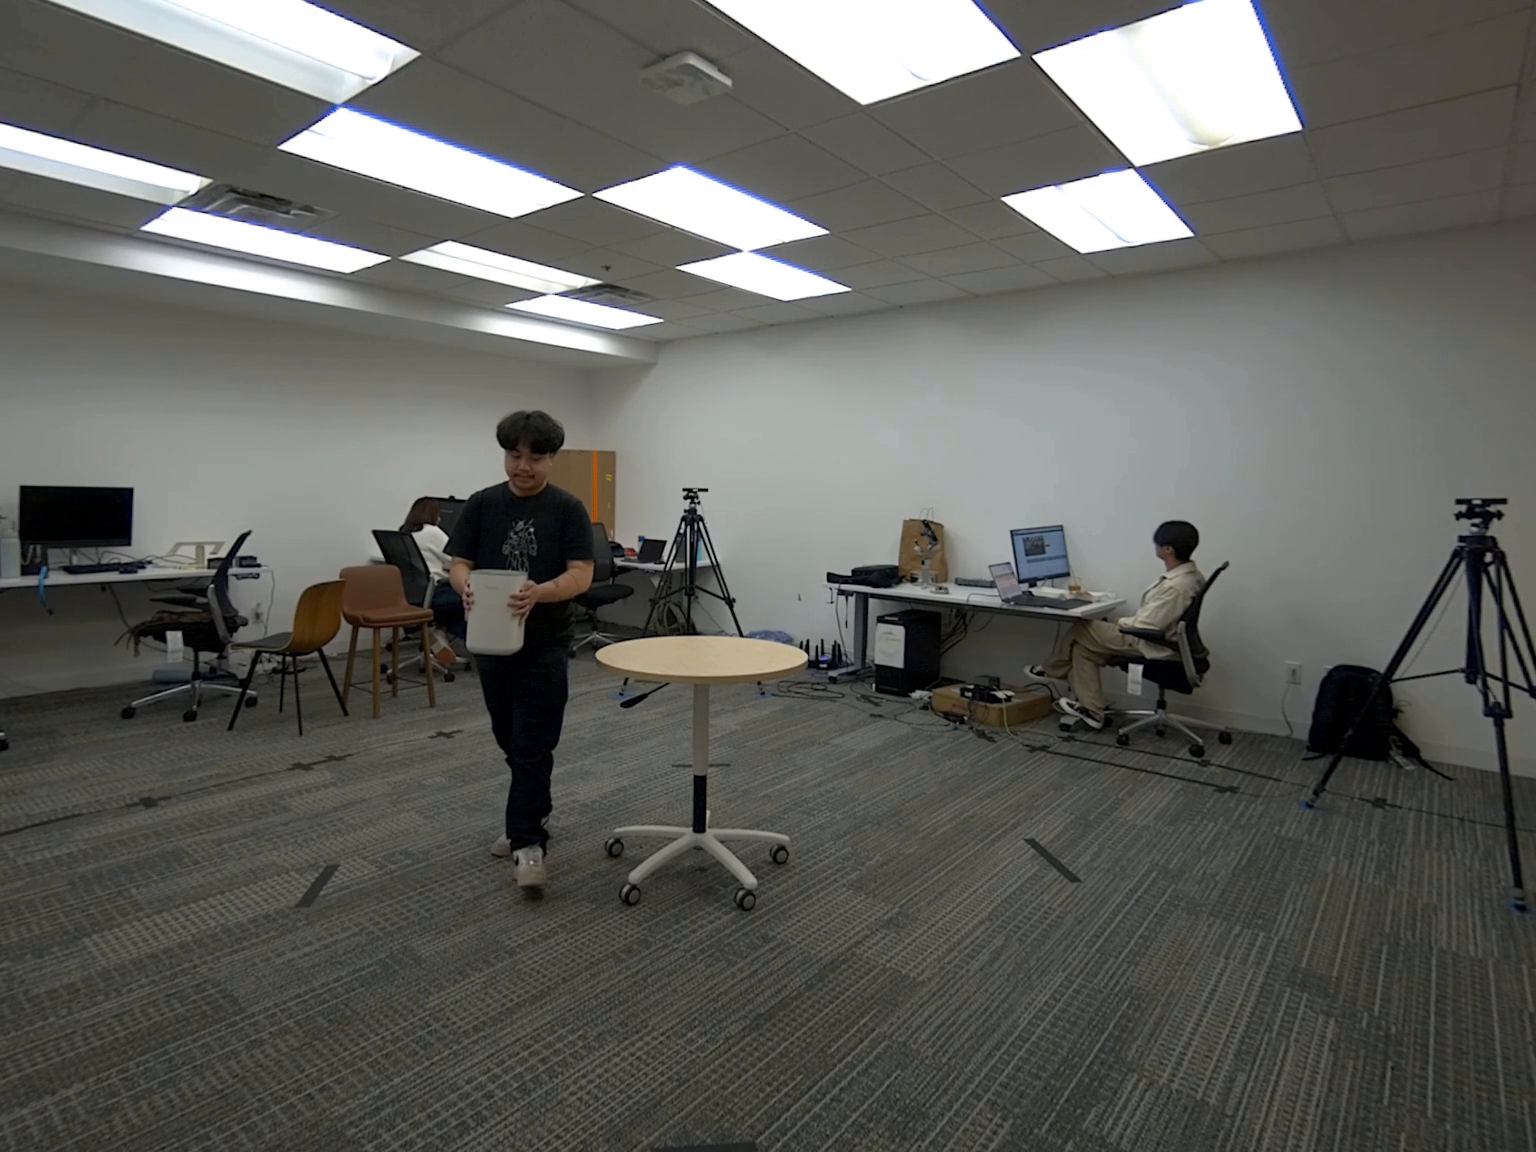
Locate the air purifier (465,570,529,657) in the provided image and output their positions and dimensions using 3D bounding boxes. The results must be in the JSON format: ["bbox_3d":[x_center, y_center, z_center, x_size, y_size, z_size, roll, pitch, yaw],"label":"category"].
[{"bbox_3d":[-0.906,0.116,2.815,0.170,0.265,0.173,6,2,-6],"label":"air purifier"}]
